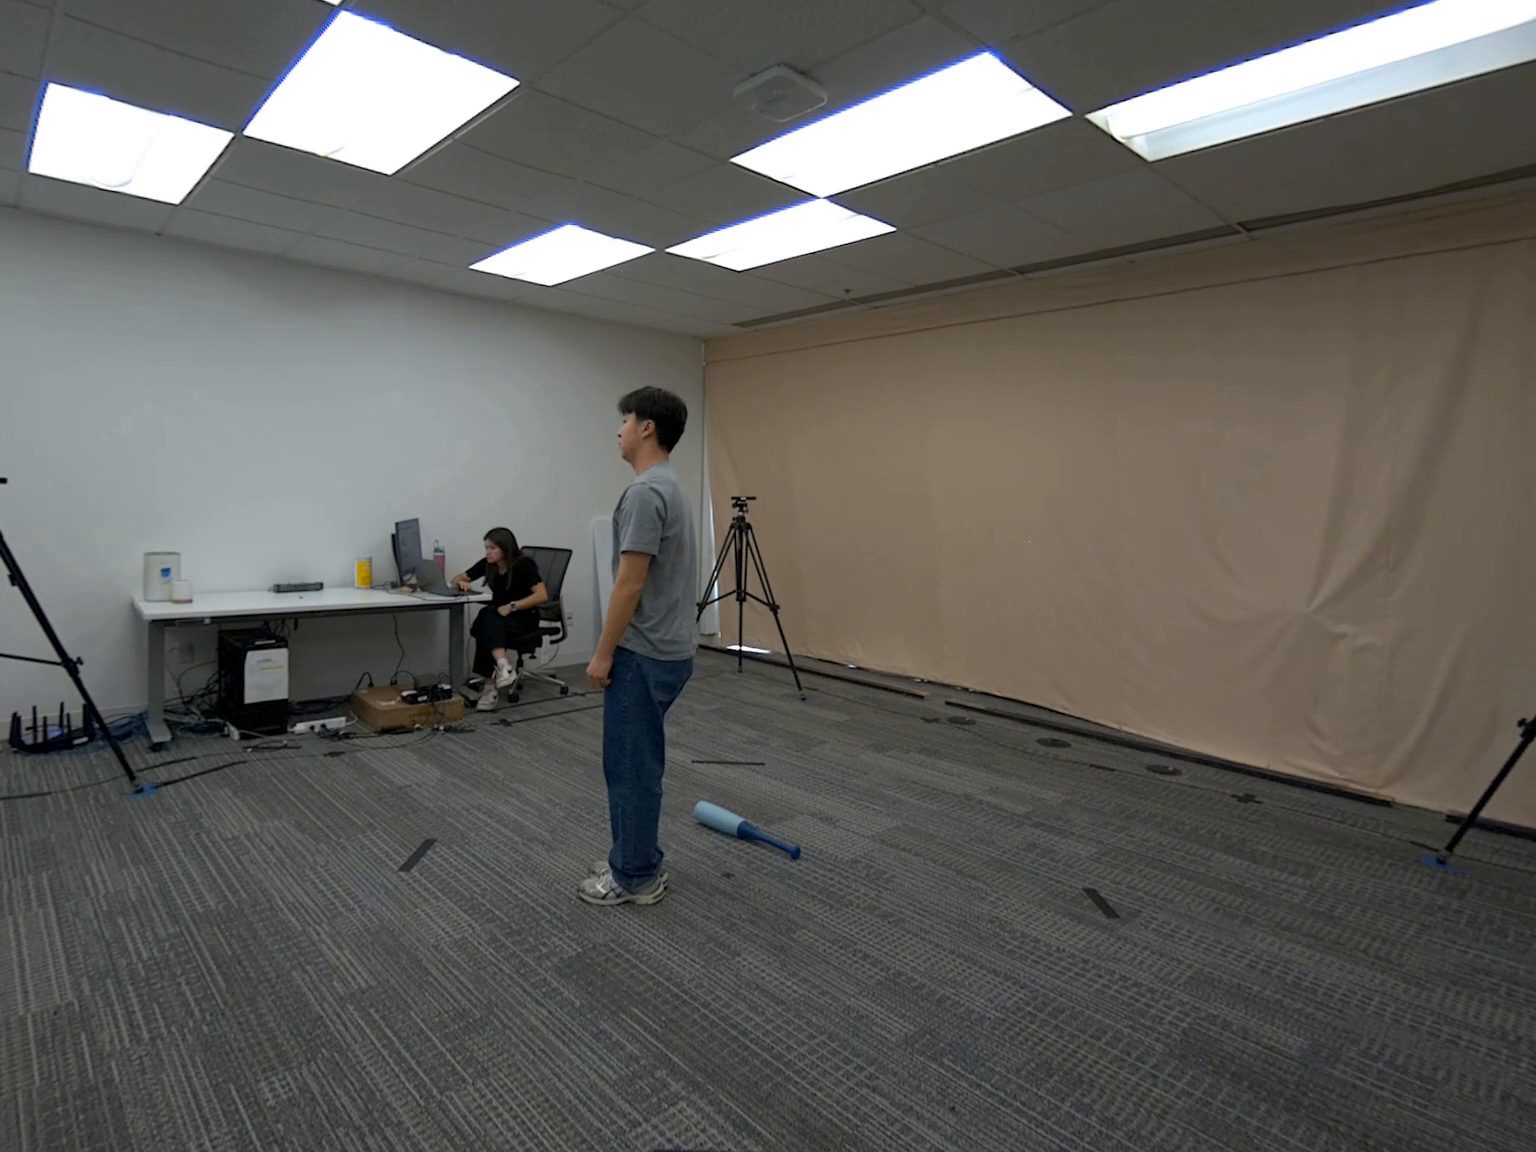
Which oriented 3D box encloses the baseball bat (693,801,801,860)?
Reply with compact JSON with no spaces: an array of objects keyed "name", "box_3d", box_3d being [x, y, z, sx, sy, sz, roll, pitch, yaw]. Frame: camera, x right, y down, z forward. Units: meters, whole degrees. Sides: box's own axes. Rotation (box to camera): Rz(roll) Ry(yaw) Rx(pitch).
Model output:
[{"name":"baseball bat","box_3d":[-0.097,1.040,3.439,0.557,0.089,0.087,9,8,41]}]
